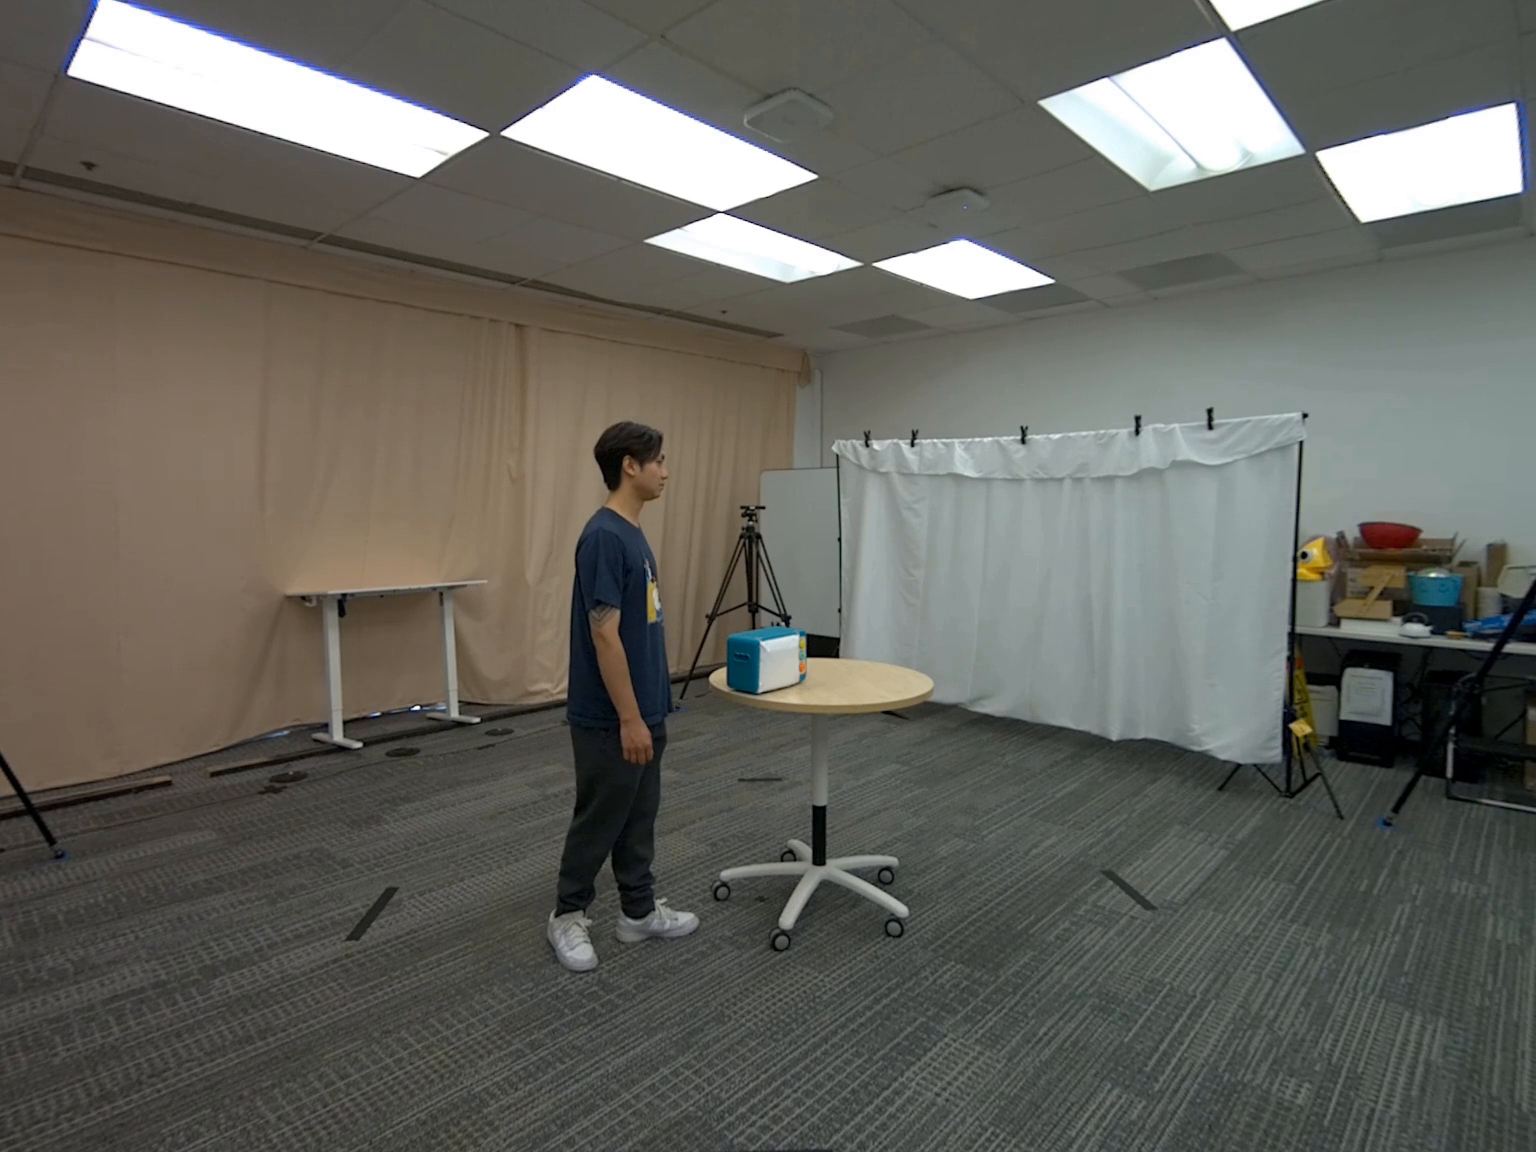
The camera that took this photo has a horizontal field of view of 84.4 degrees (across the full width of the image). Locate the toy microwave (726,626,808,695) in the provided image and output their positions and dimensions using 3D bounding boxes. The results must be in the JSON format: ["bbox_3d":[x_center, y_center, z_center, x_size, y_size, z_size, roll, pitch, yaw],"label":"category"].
[{"bbox_3d":[0.010,0.277,2.763,0.157,0.184,0.277,3,5,39],"label":"toy microwave"}]
